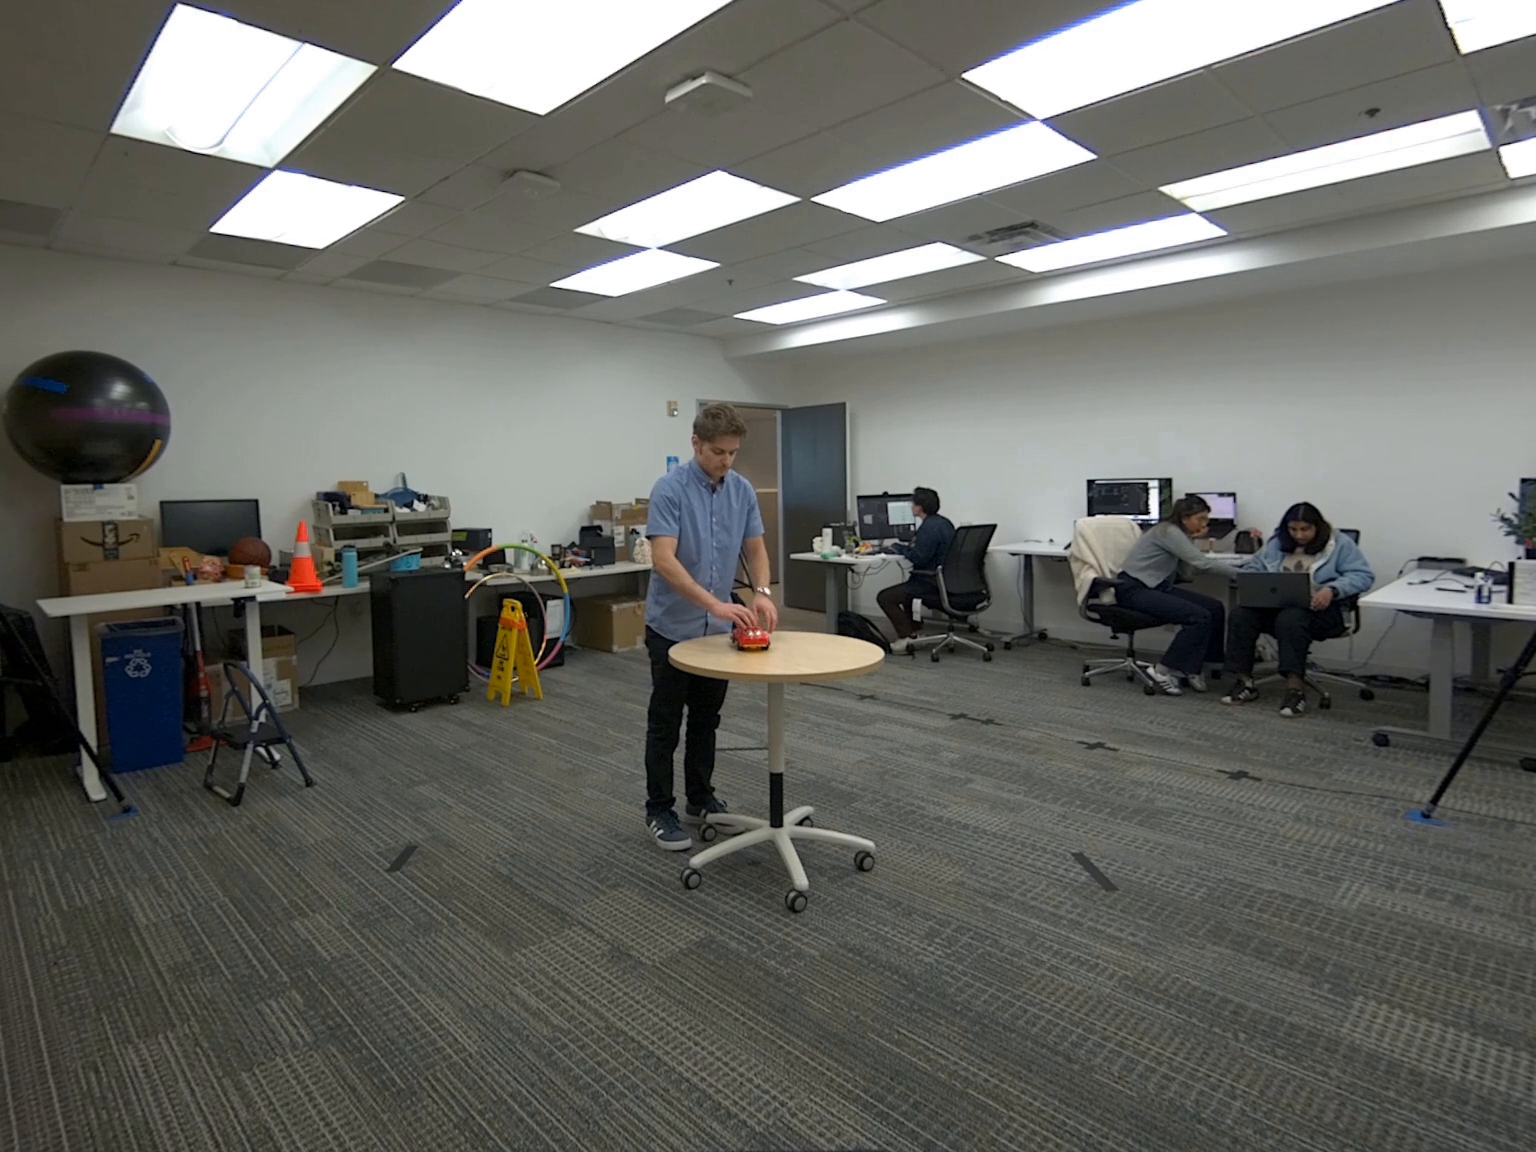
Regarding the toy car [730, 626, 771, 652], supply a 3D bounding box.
[{"bbox_3d":[-0.053,0.230,3.101,0.130,0.084,0.254,-1,-6,-6],"label":"toy car"}]
